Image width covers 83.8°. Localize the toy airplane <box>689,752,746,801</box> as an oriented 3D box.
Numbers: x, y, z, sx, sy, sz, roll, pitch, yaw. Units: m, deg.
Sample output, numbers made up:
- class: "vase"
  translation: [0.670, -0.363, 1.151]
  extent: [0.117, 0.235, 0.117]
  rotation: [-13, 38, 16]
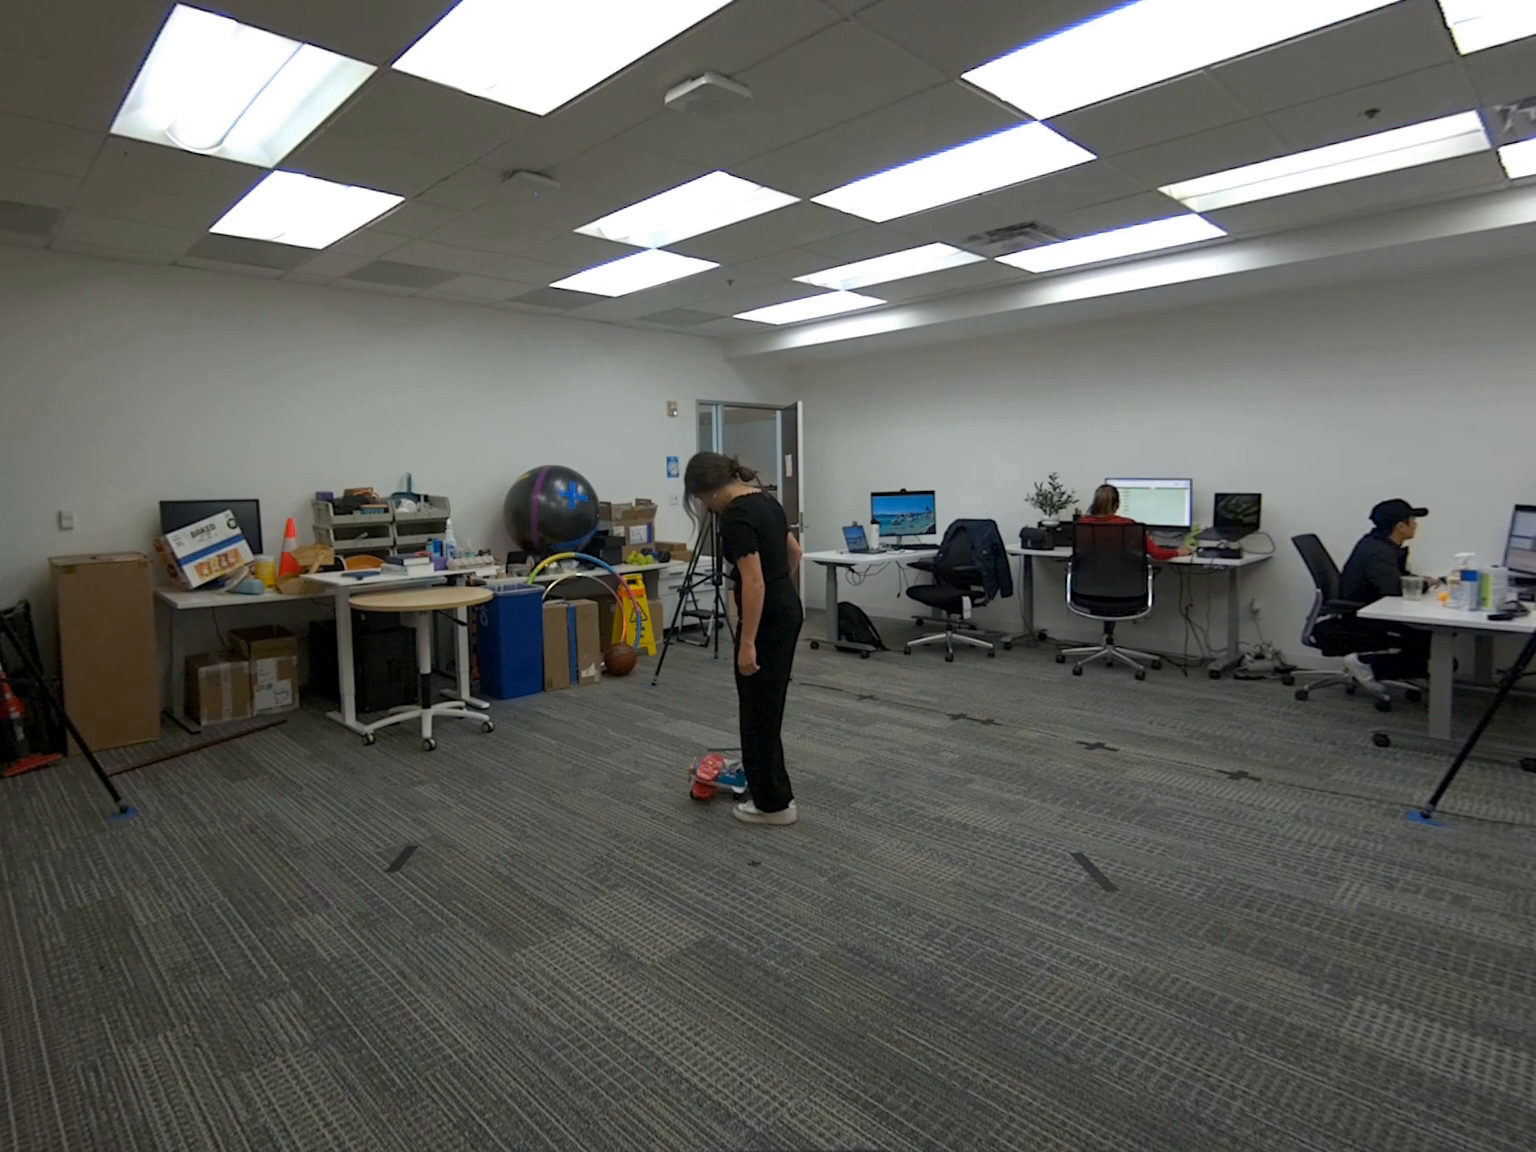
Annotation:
- class: "toy airplane"
  translation: [-0.225, 0.895, 3.772]
  extent: [0.256, 0.155, 0.256]
  rotation: [-4, 9, -15]
